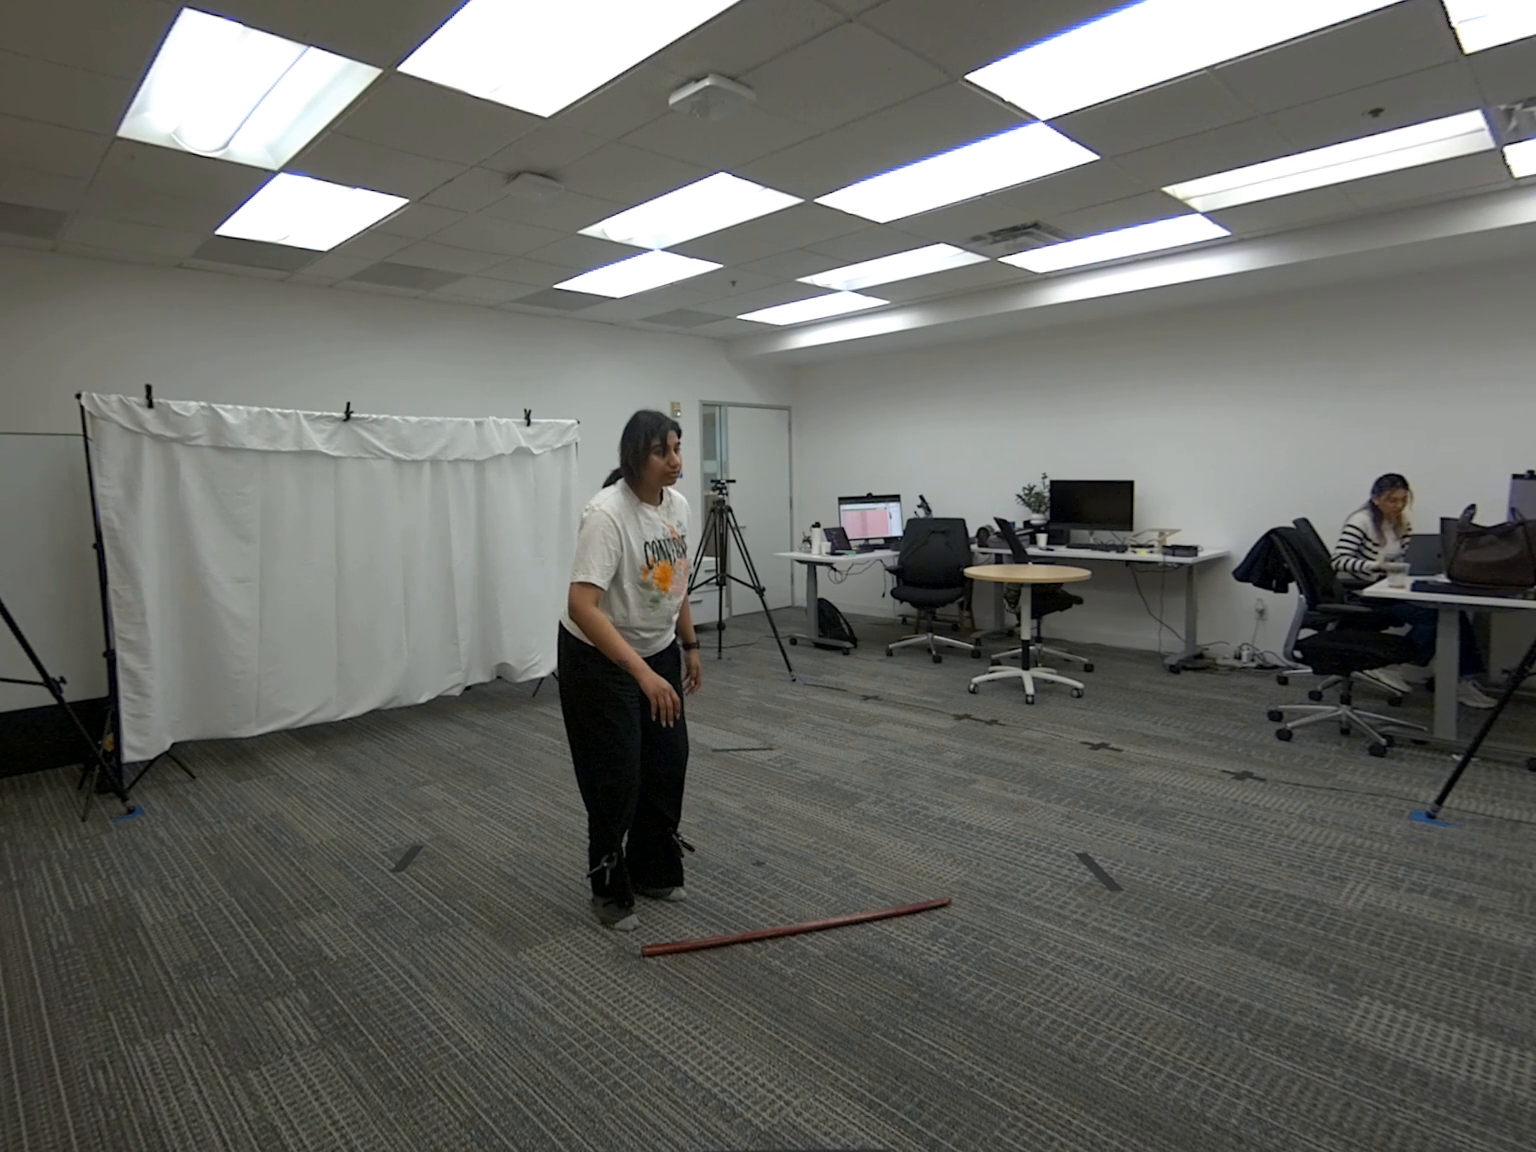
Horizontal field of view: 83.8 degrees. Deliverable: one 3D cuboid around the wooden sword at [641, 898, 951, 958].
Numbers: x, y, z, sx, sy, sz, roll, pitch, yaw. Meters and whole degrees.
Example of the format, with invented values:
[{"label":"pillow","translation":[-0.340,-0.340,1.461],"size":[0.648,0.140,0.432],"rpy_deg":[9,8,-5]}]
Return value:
[{"label":"wooden sword","translation":[0.119,1.076,2.645],"size":[1.010,0.023,0.053],"rpy_deg":[-3,28,-15]}]
